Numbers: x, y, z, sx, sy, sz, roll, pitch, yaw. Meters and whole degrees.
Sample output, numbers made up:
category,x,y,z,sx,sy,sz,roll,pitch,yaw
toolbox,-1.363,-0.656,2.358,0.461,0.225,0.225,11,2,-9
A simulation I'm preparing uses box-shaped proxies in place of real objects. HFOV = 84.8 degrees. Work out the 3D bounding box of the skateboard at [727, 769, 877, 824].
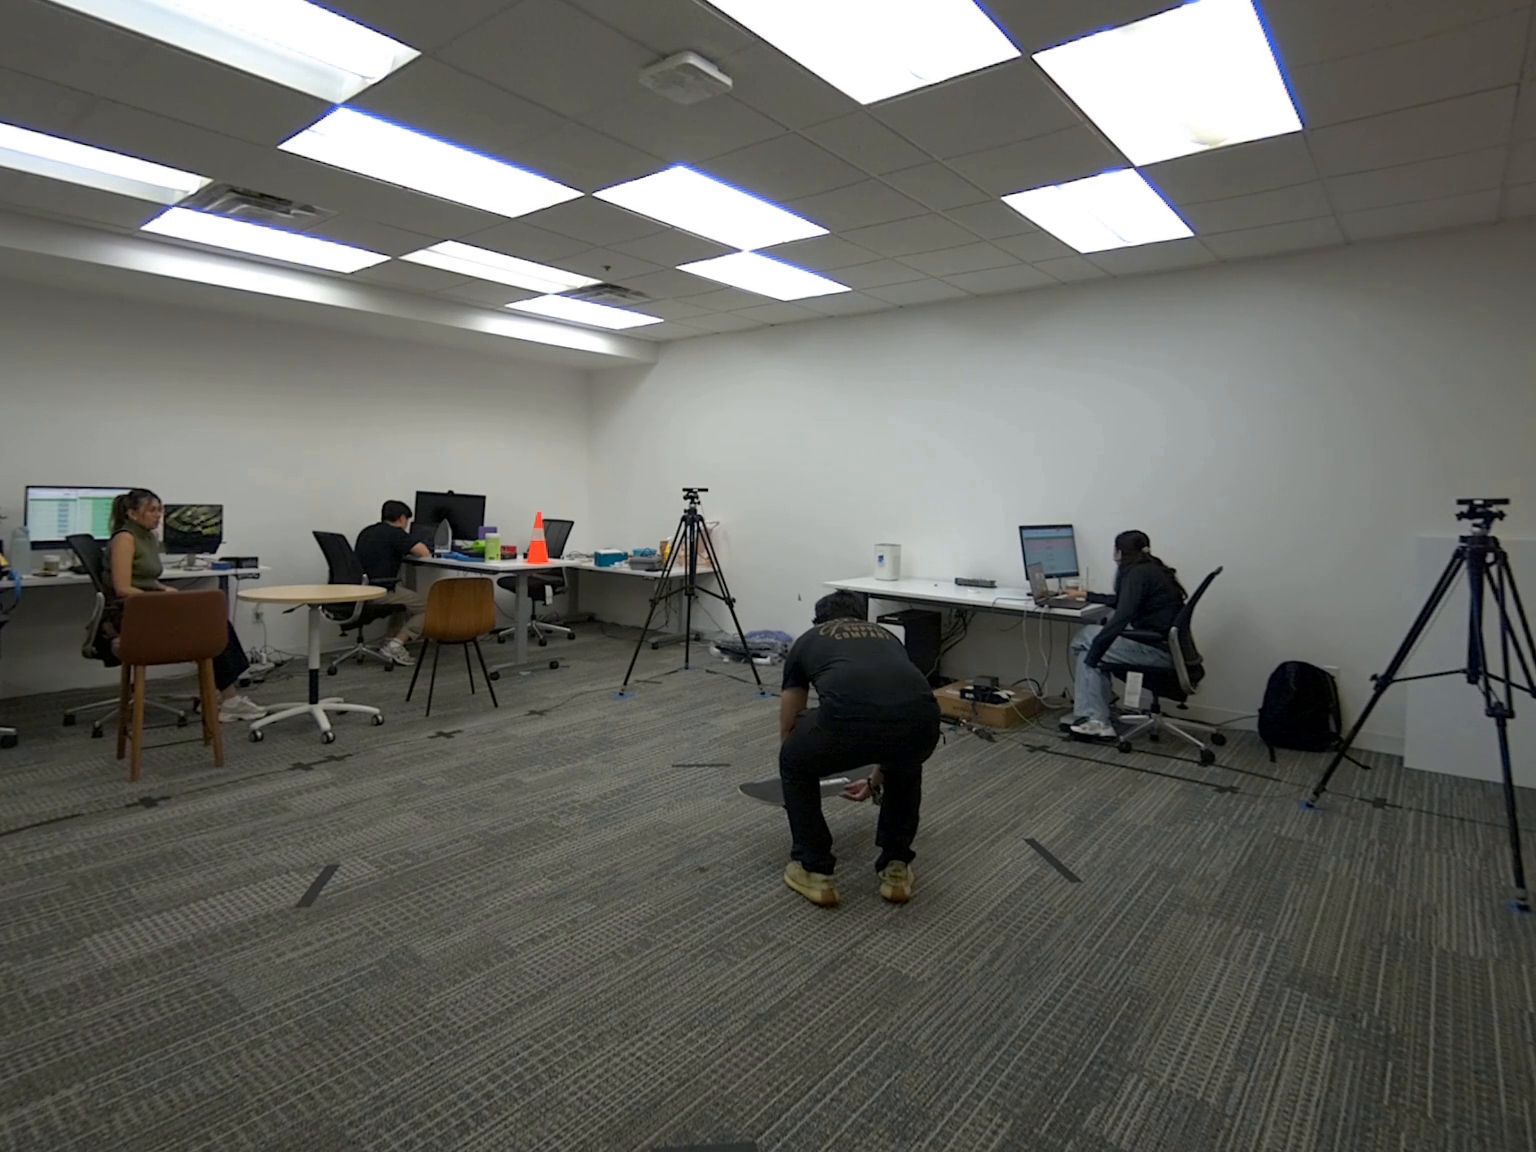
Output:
category,x,y,z,sx,sy,sz,roll,pitch,yaw
skateboard,0.233,0.849,3.403,0.767,0.109,0.199,-1,9,-25
